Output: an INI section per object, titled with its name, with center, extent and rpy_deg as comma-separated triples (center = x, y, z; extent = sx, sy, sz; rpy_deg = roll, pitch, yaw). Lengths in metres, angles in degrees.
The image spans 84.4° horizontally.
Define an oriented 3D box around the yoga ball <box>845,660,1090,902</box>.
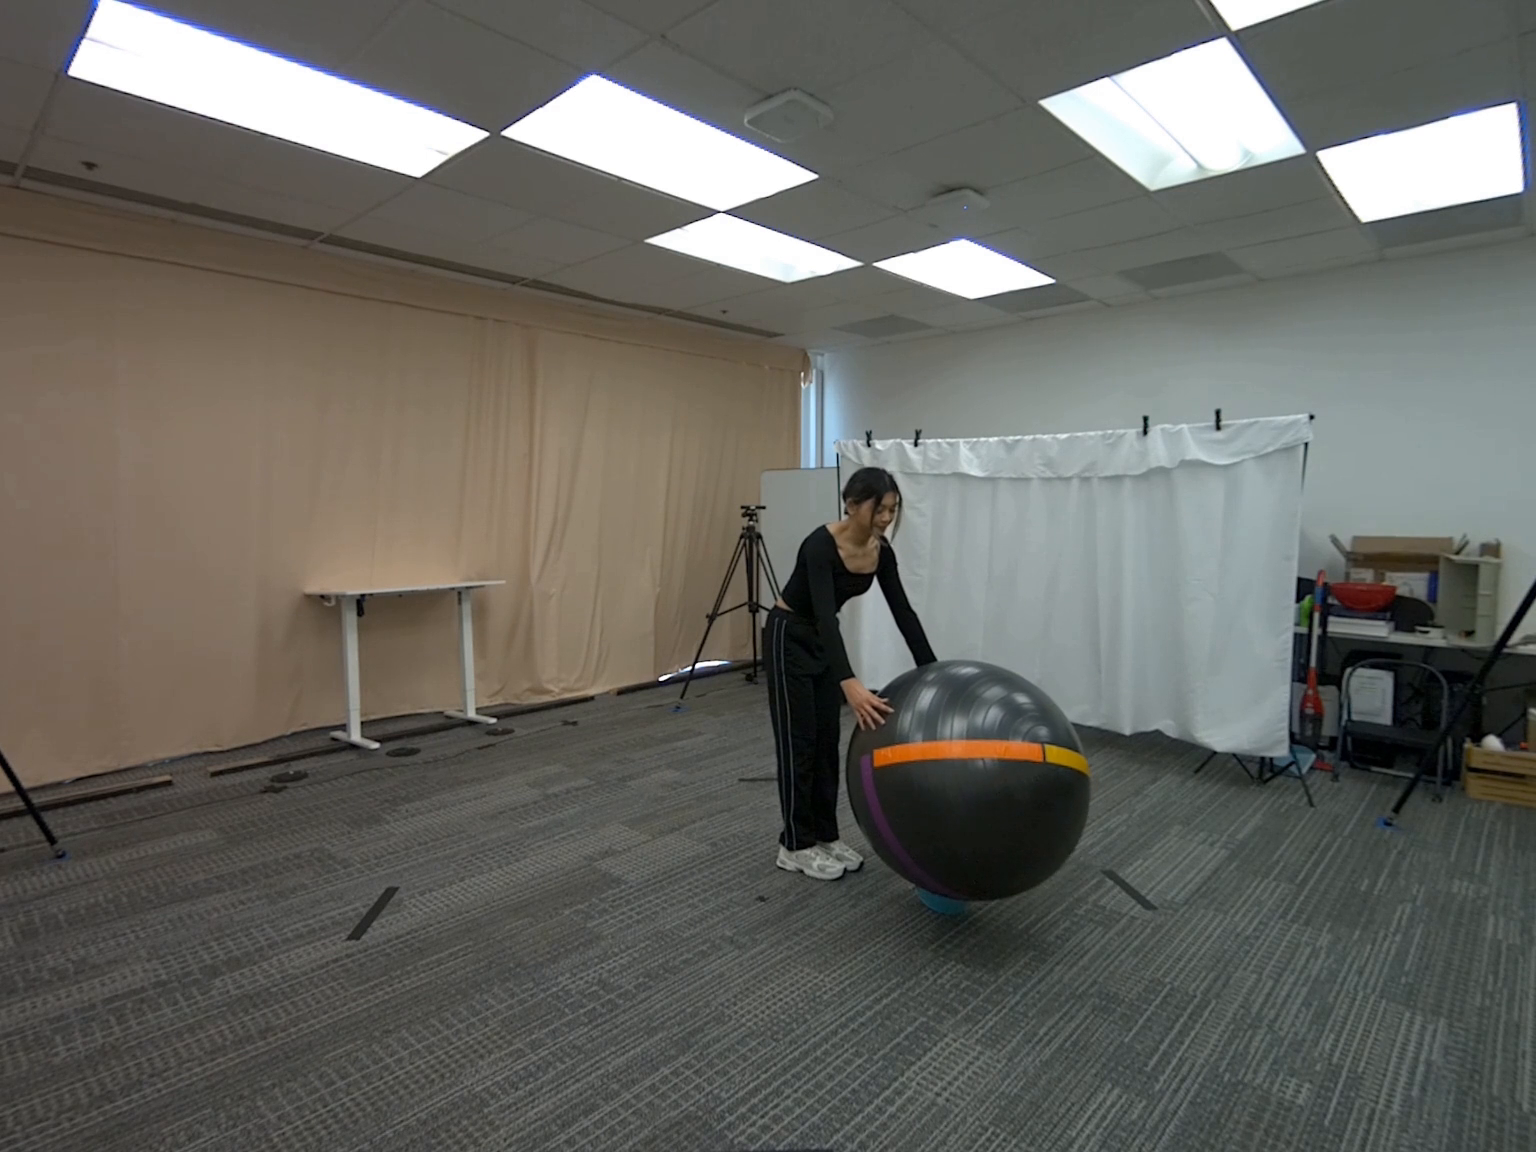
[yoga ball]
center = 0.651, 0.664, 2.736
extent = 0.757, 0.756, 0.760
rpy_deg = 0, 4, -2
